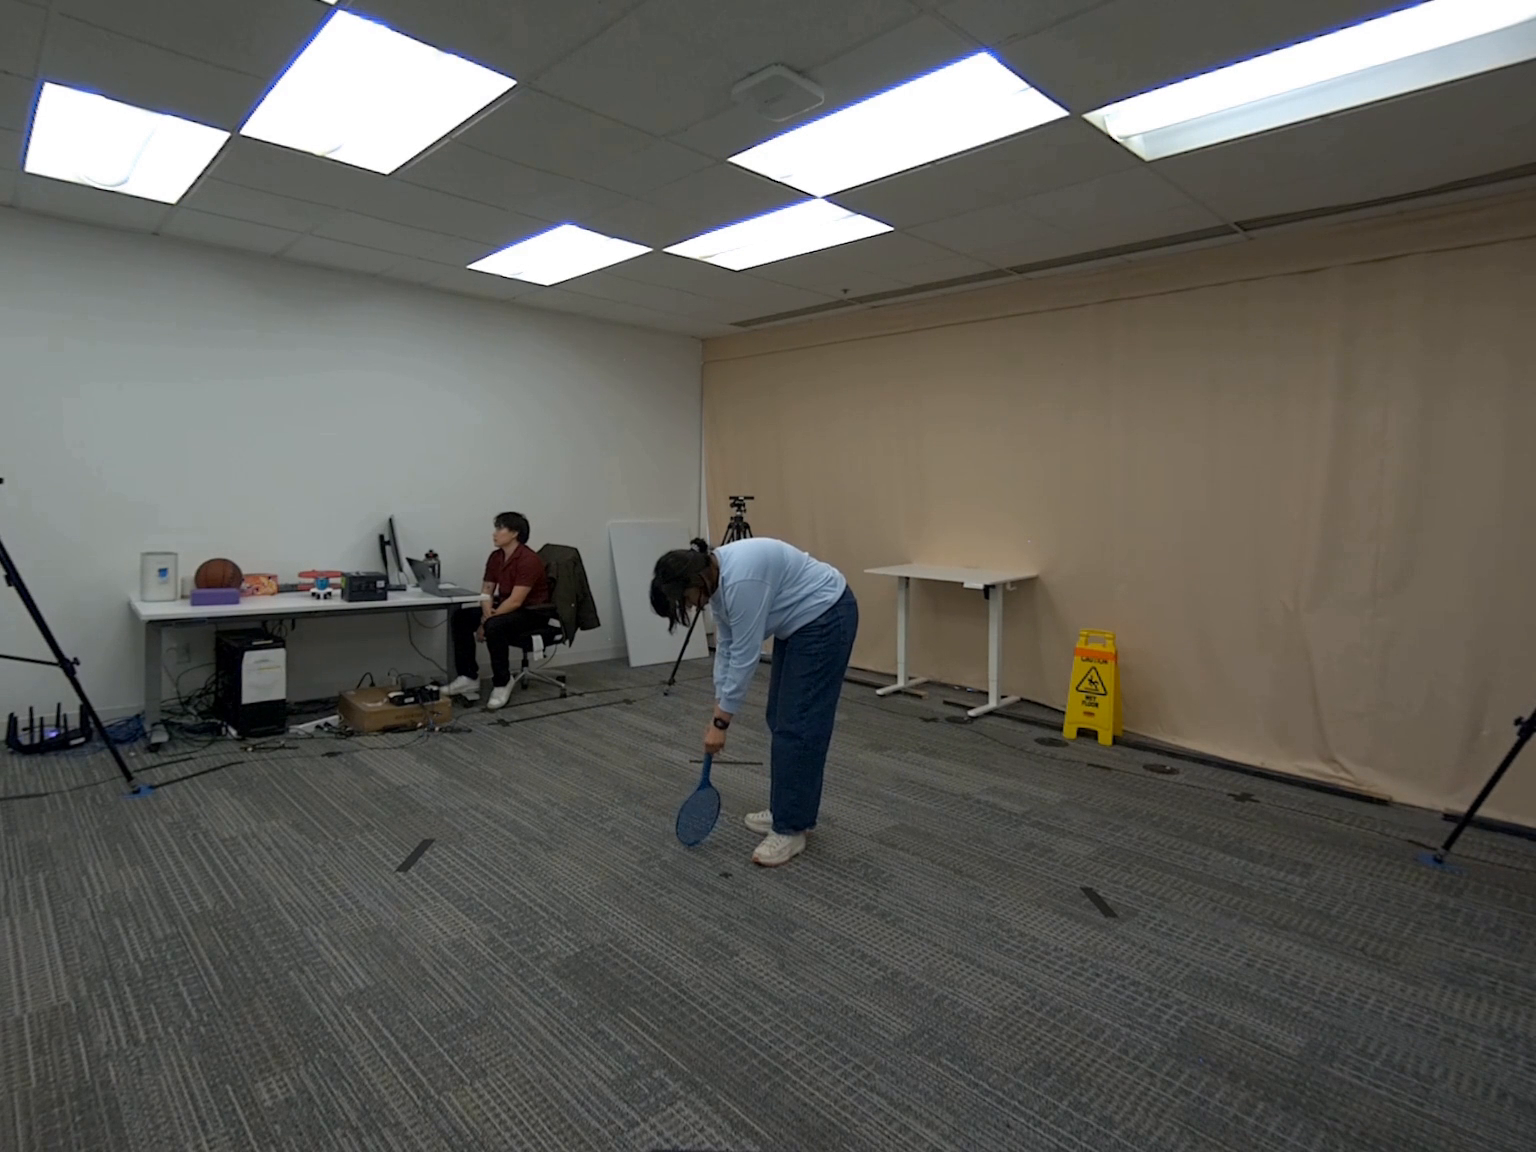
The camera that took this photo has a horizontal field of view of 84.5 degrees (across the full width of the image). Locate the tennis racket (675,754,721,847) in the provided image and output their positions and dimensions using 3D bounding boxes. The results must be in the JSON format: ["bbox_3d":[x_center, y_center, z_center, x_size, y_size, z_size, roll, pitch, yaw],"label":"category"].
[{"bbox_3d":[-0.260,0.872,3.314,0.209,0.429,0.033,1,19,-39],"label":"tennis racket"}]
